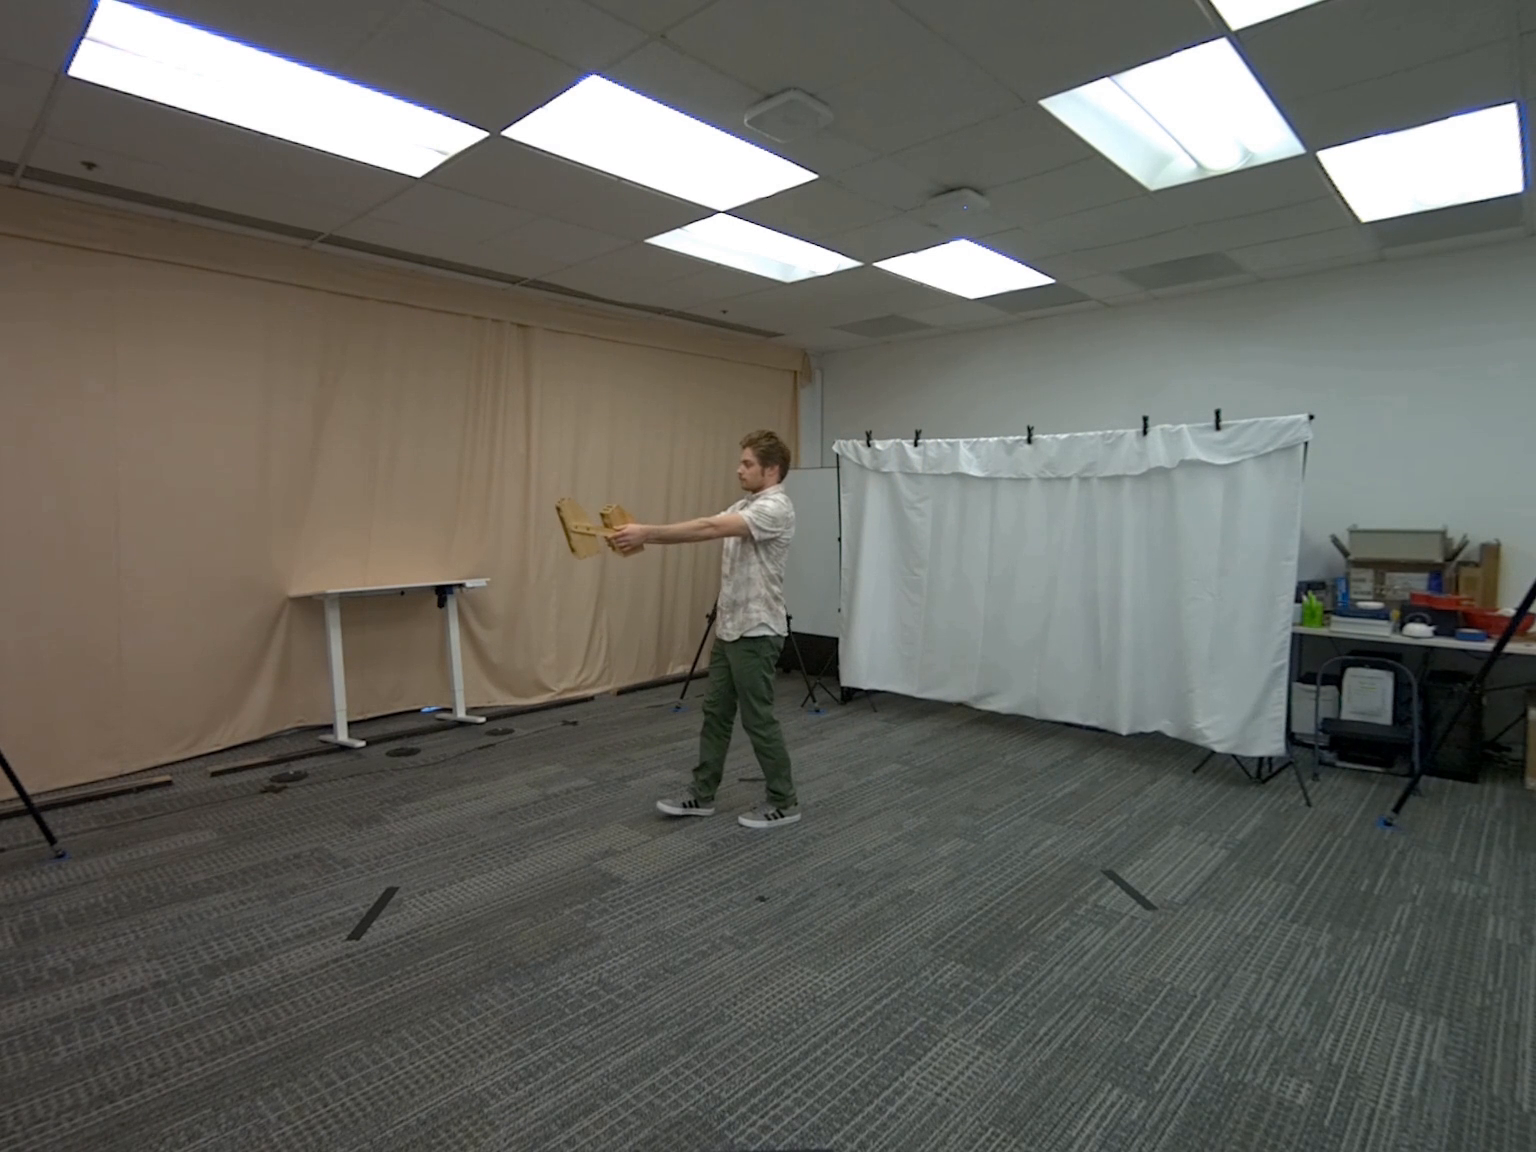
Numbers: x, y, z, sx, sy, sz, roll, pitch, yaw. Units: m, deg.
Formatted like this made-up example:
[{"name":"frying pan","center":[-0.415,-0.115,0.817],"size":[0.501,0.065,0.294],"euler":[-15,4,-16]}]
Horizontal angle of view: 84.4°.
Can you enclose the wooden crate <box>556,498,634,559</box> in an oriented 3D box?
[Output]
[{"name":"wooden crate","center":[-0.707,-0.217,3.492],"size":[0.270,0.299,0.331],"euler":[-20,10,-15]}]
